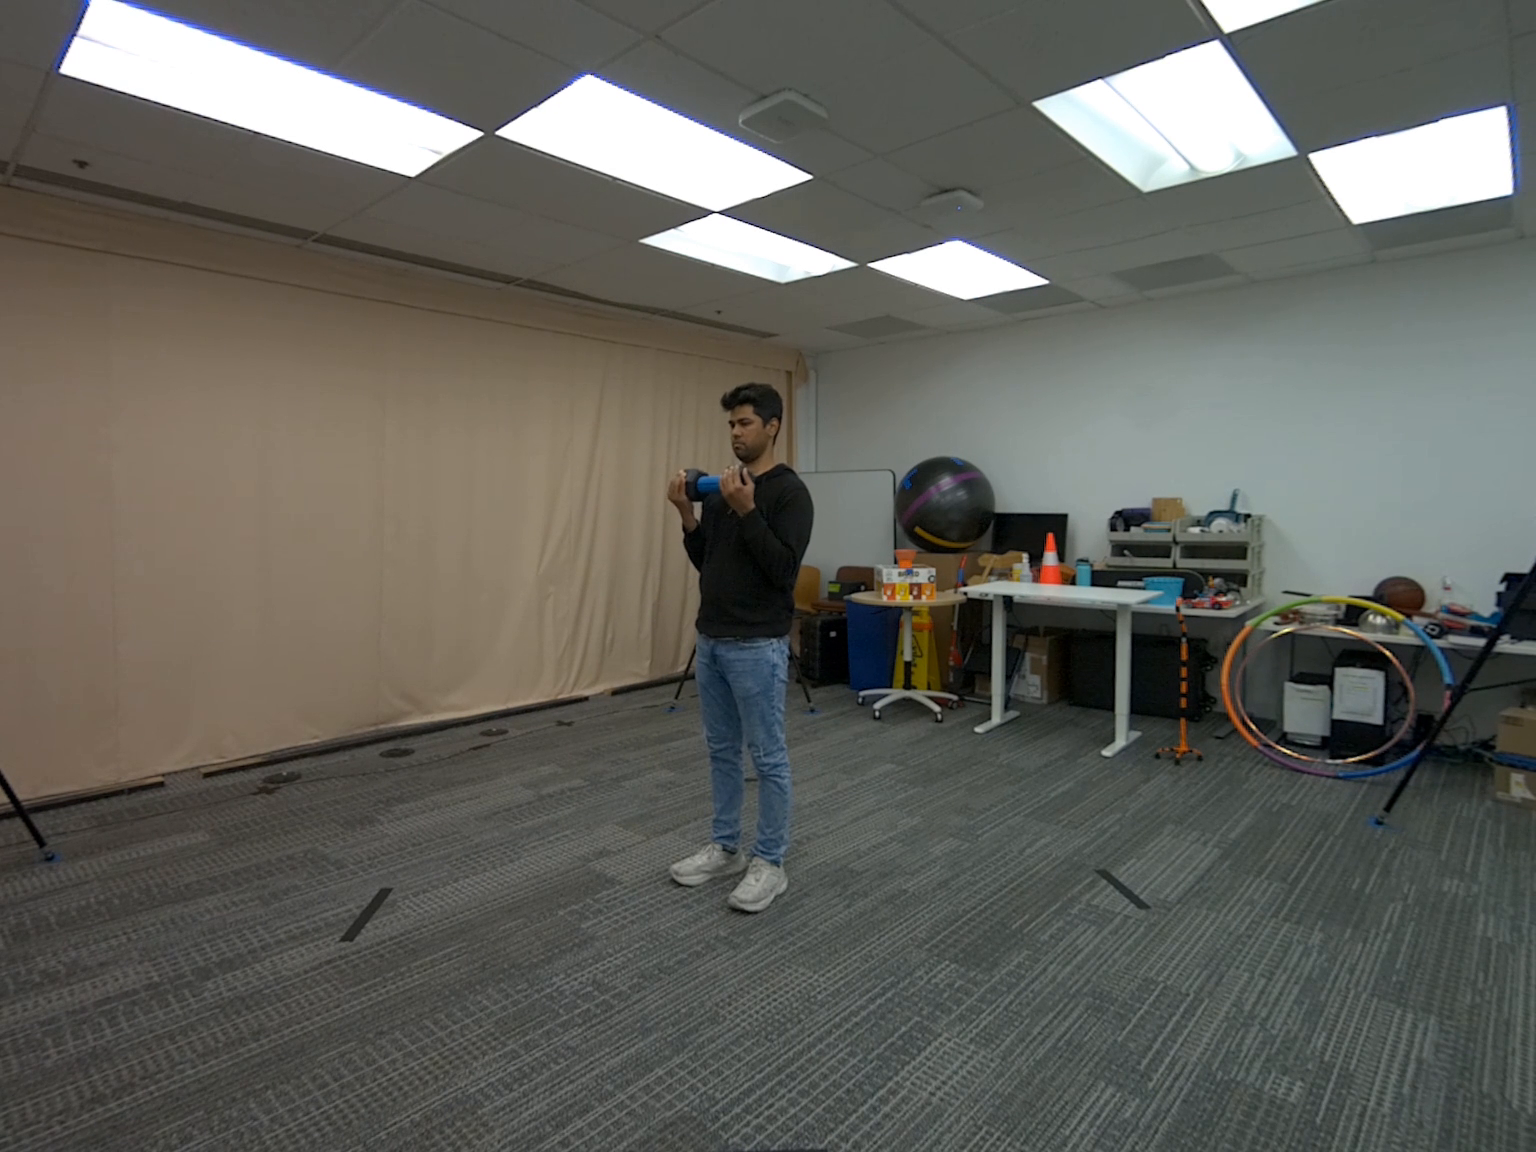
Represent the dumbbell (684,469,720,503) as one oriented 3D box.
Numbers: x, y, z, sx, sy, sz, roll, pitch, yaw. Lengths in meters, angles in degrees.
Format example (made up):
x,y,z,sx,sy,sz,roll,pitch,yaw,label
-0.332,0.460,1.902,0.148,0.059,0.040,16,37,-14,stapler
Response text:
x,y,z,sx,sy,sz,roll,pitch,yaw,label
-0.173,-0.307,2.943,0.303,0.109,0.118,3,-8,38,dumbbell
